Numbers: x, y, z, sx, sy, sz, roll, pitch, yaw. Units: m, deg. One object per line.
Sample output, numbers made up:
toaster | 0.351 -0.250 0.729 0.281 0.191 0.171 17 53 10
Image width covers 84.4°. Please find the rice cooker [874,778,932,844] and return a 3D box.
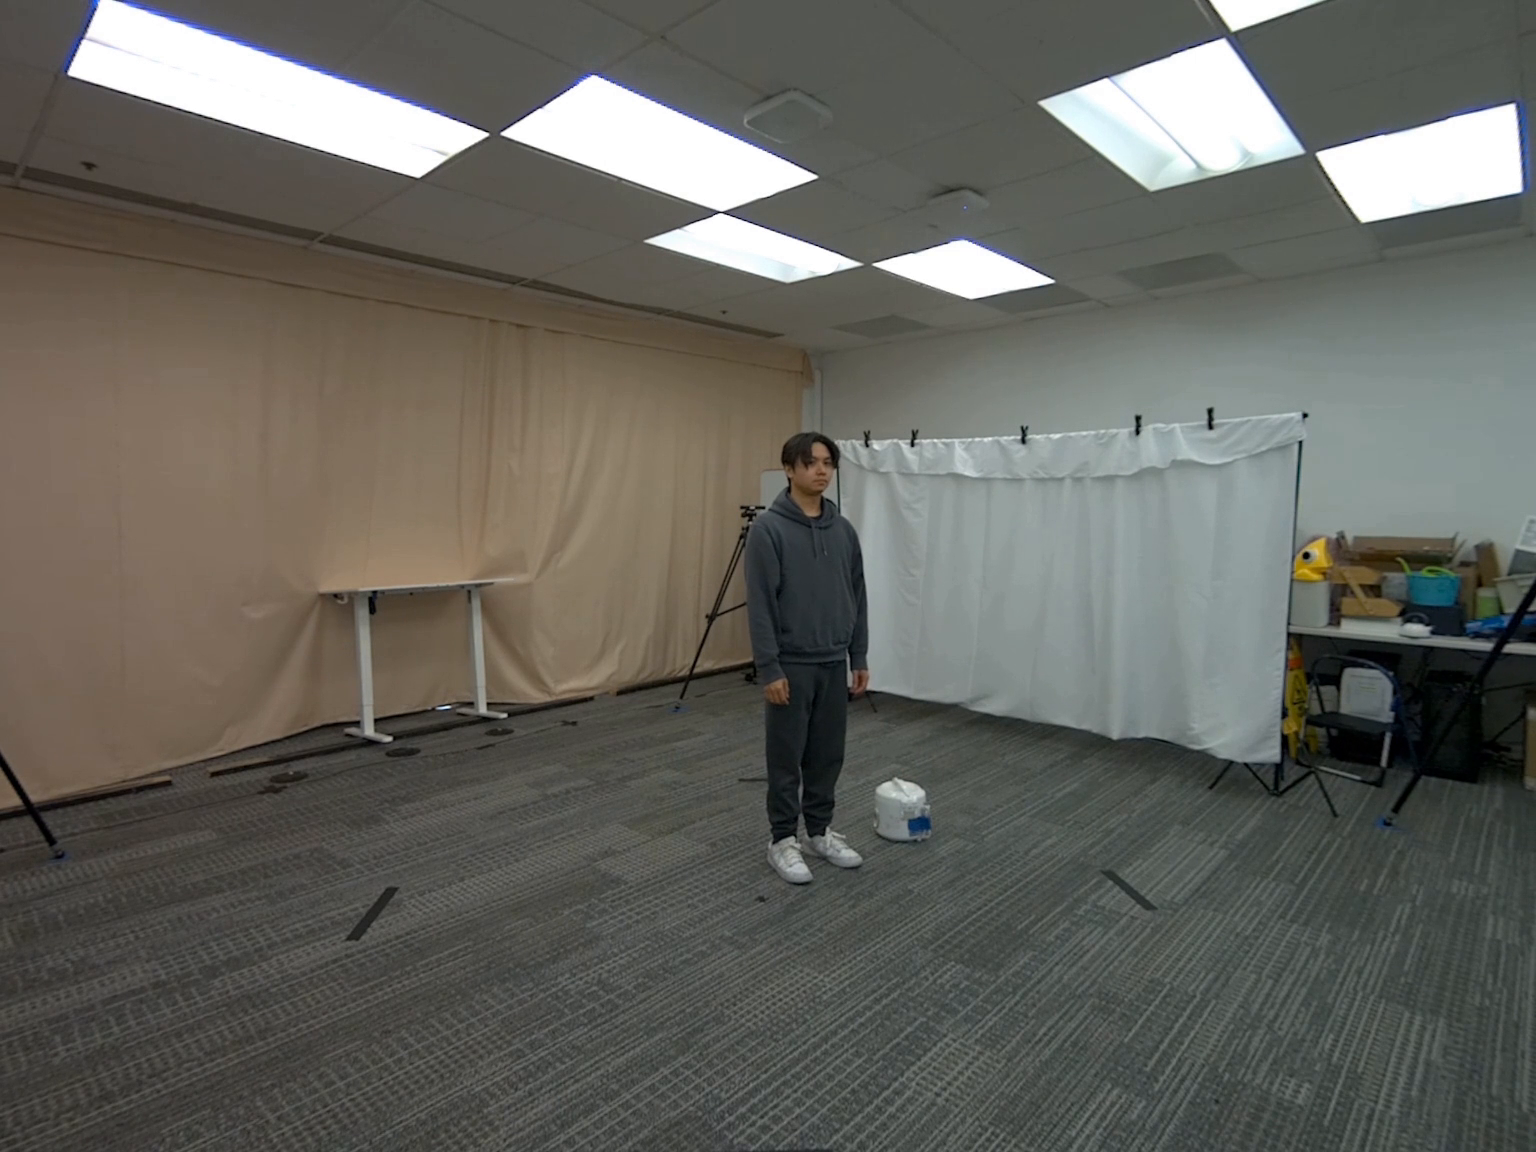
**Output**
rice cooker | 0.561 0.982 3.552 0.215 0.232 0.223 0 4 -9
